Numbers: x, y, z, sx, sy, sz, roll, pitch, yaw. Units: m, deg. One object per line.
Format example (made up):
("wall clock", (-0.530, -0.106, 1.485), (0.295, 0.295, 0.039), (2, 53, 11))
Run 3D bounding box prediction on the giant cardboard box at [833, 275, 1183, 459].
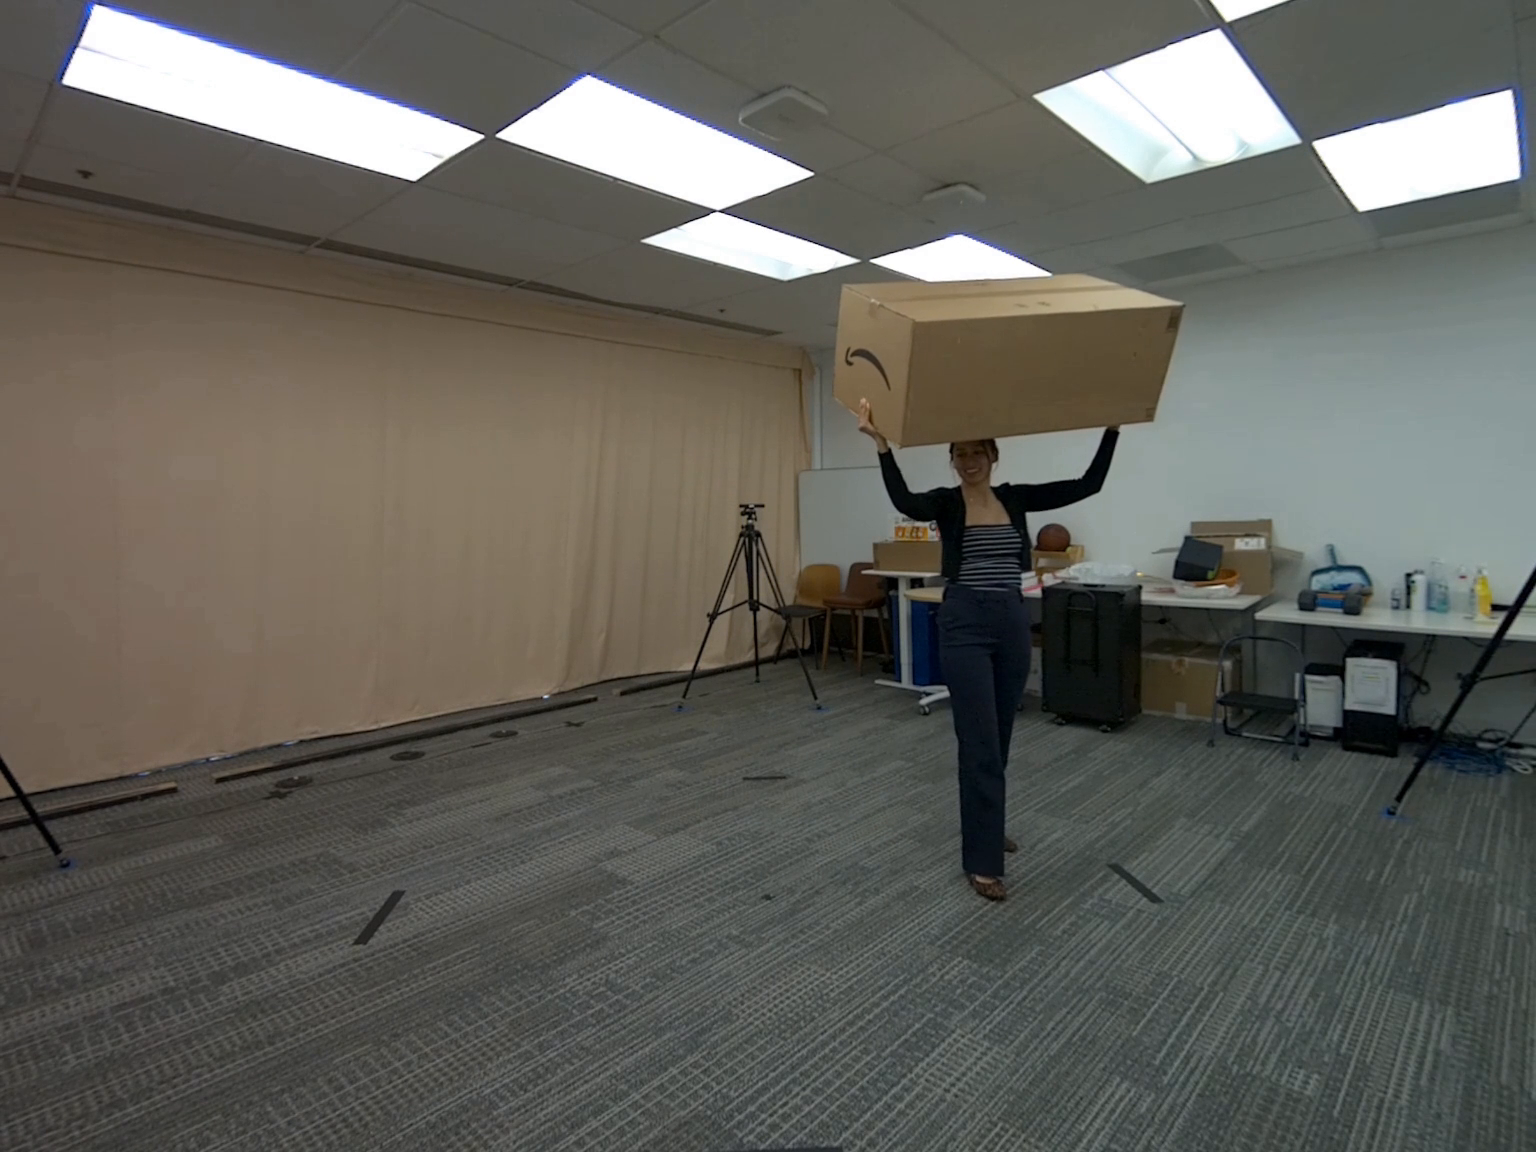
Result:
("giant cardboard box", (0.831, -0.803, 3.053), (1.011, 0.419, 0.595), (-8, 30, -15))
